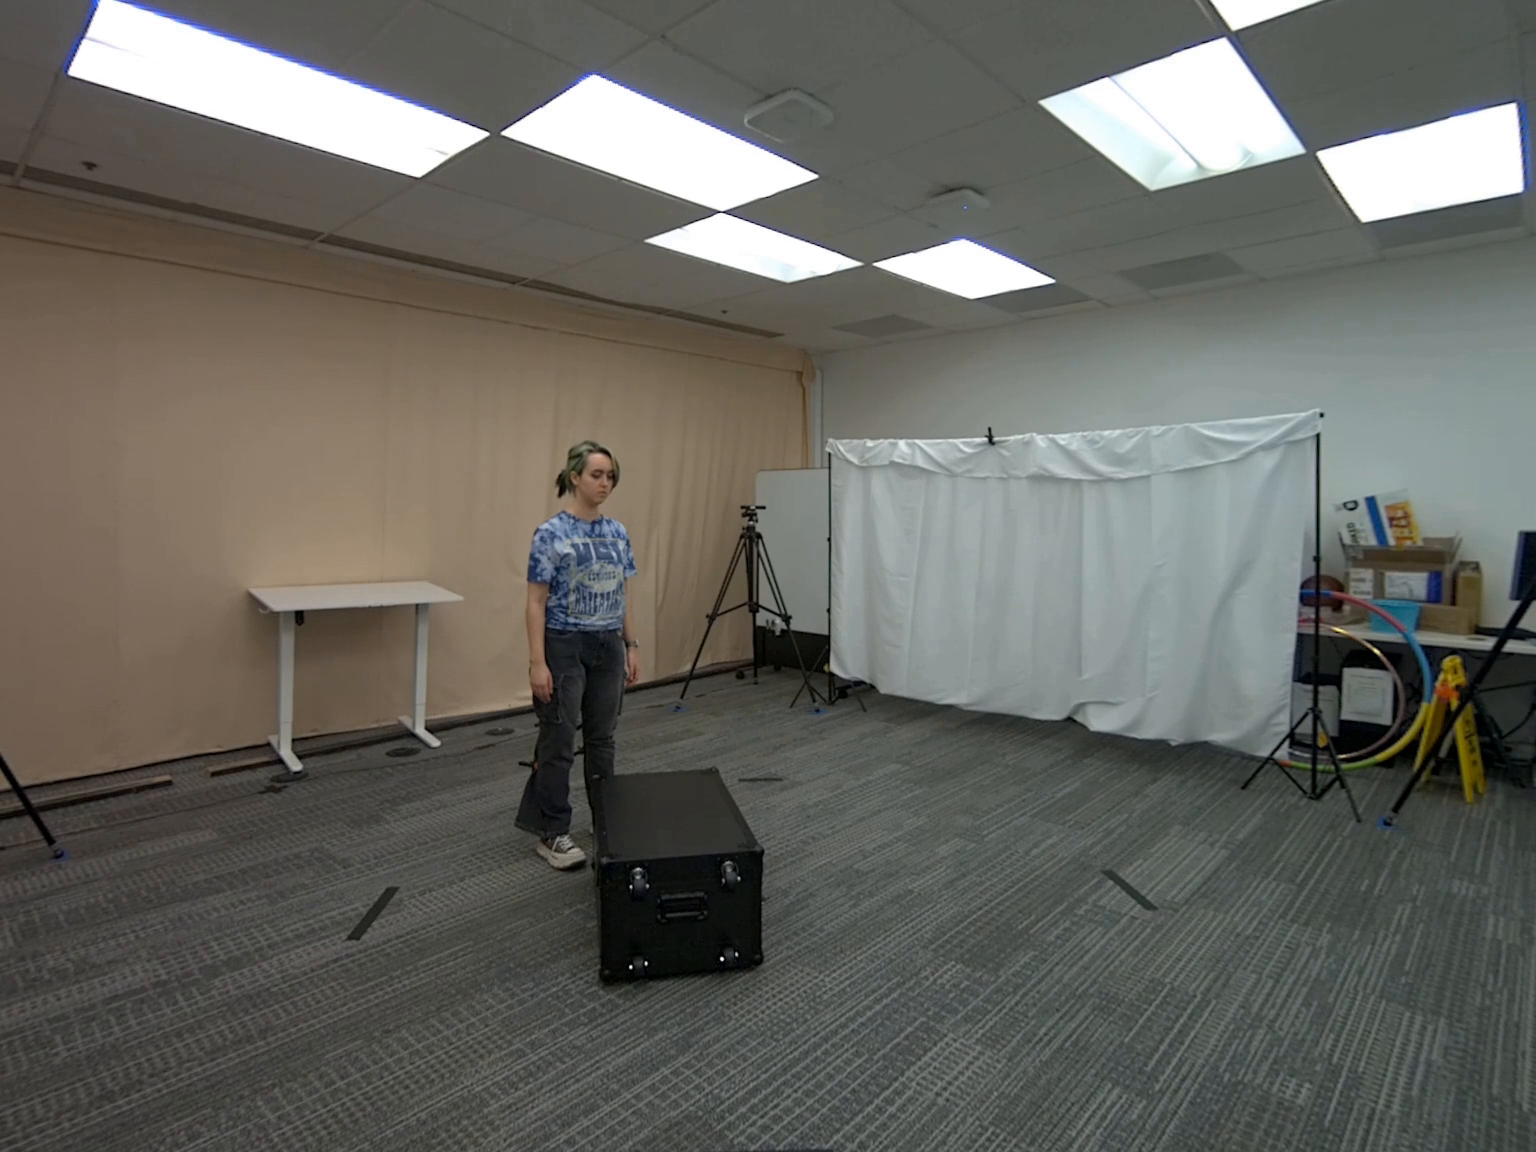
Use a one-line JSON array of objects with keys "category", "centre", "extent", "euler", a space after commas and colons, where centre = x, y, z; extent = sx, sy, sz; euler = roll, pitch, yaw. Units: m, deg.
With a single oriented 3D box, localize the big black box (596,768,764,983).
[{"category": "big black box", "centre": [-0.339, 0.963, 2.868], "extent": [0.515, 0.395, 0.874], "euler": [-1, 5, -12]}]
